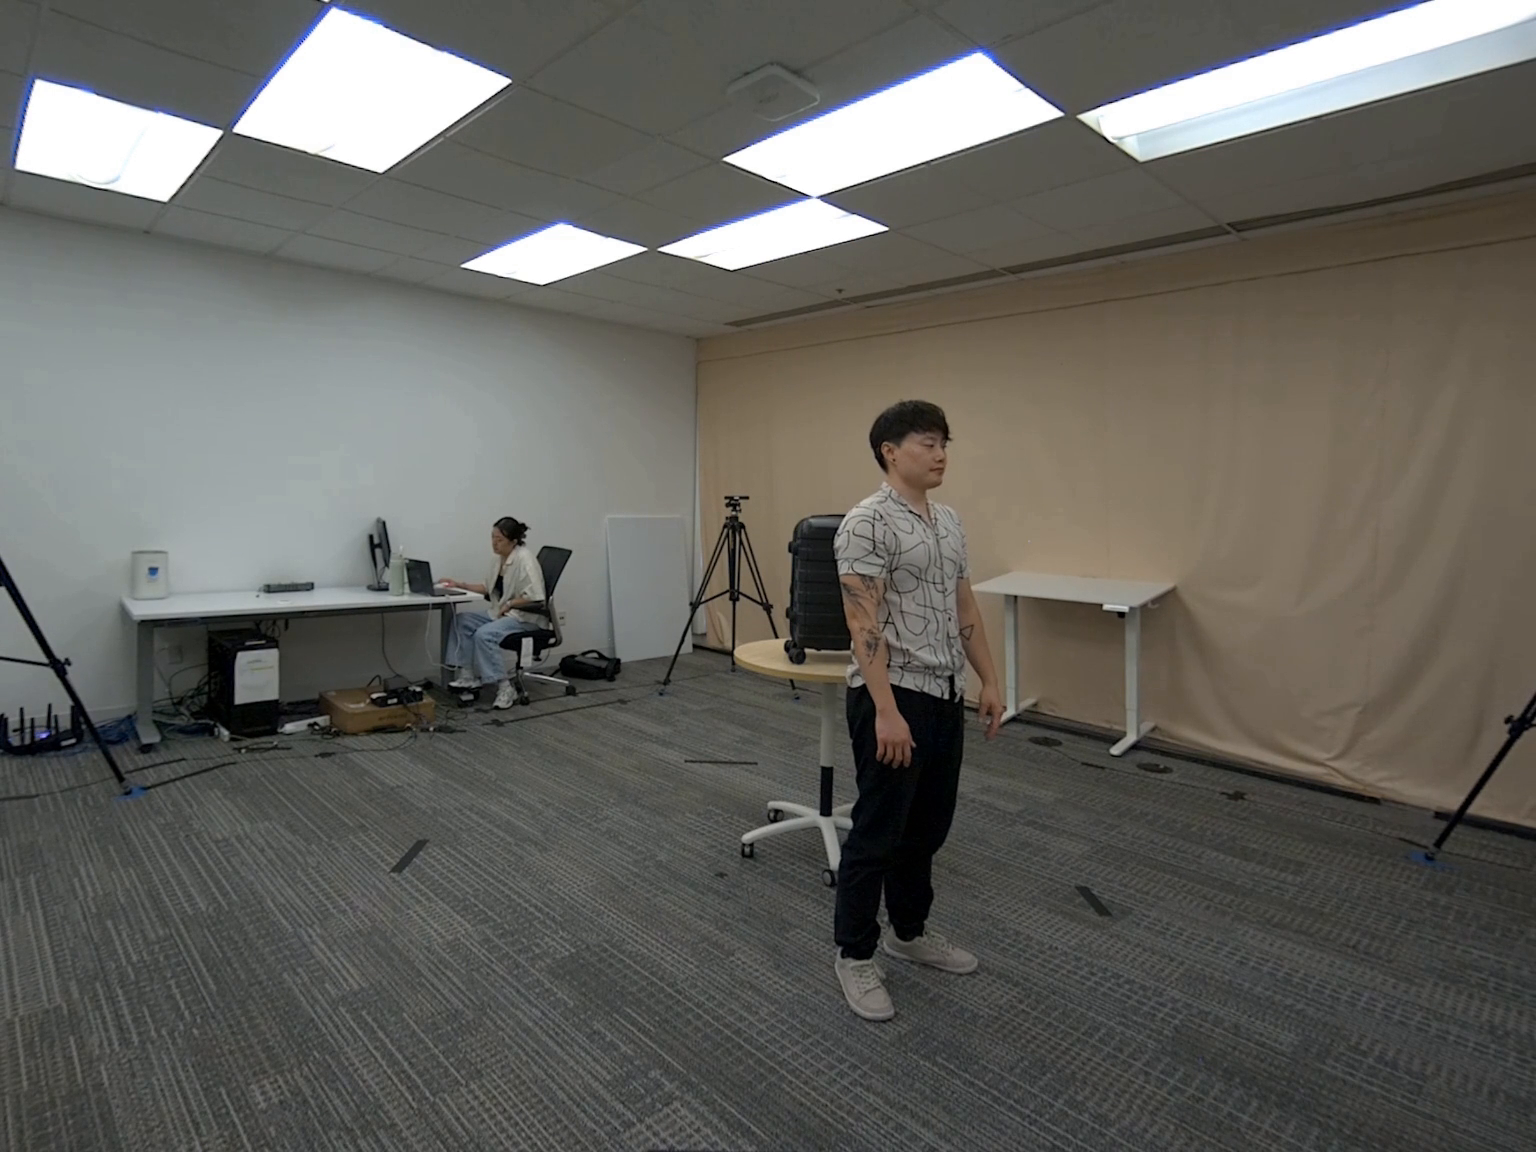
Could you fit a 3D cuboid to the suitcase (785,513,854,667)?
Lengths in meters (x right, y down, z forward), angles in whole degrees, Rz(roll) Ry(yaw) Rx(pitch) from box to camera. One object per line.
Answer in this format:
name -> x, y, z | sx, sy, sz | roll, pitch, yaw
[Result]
suitcase -> 0.274, 0.046, 3.216 | 0.375, 0.548, 0.249 | 3, 3, -1
